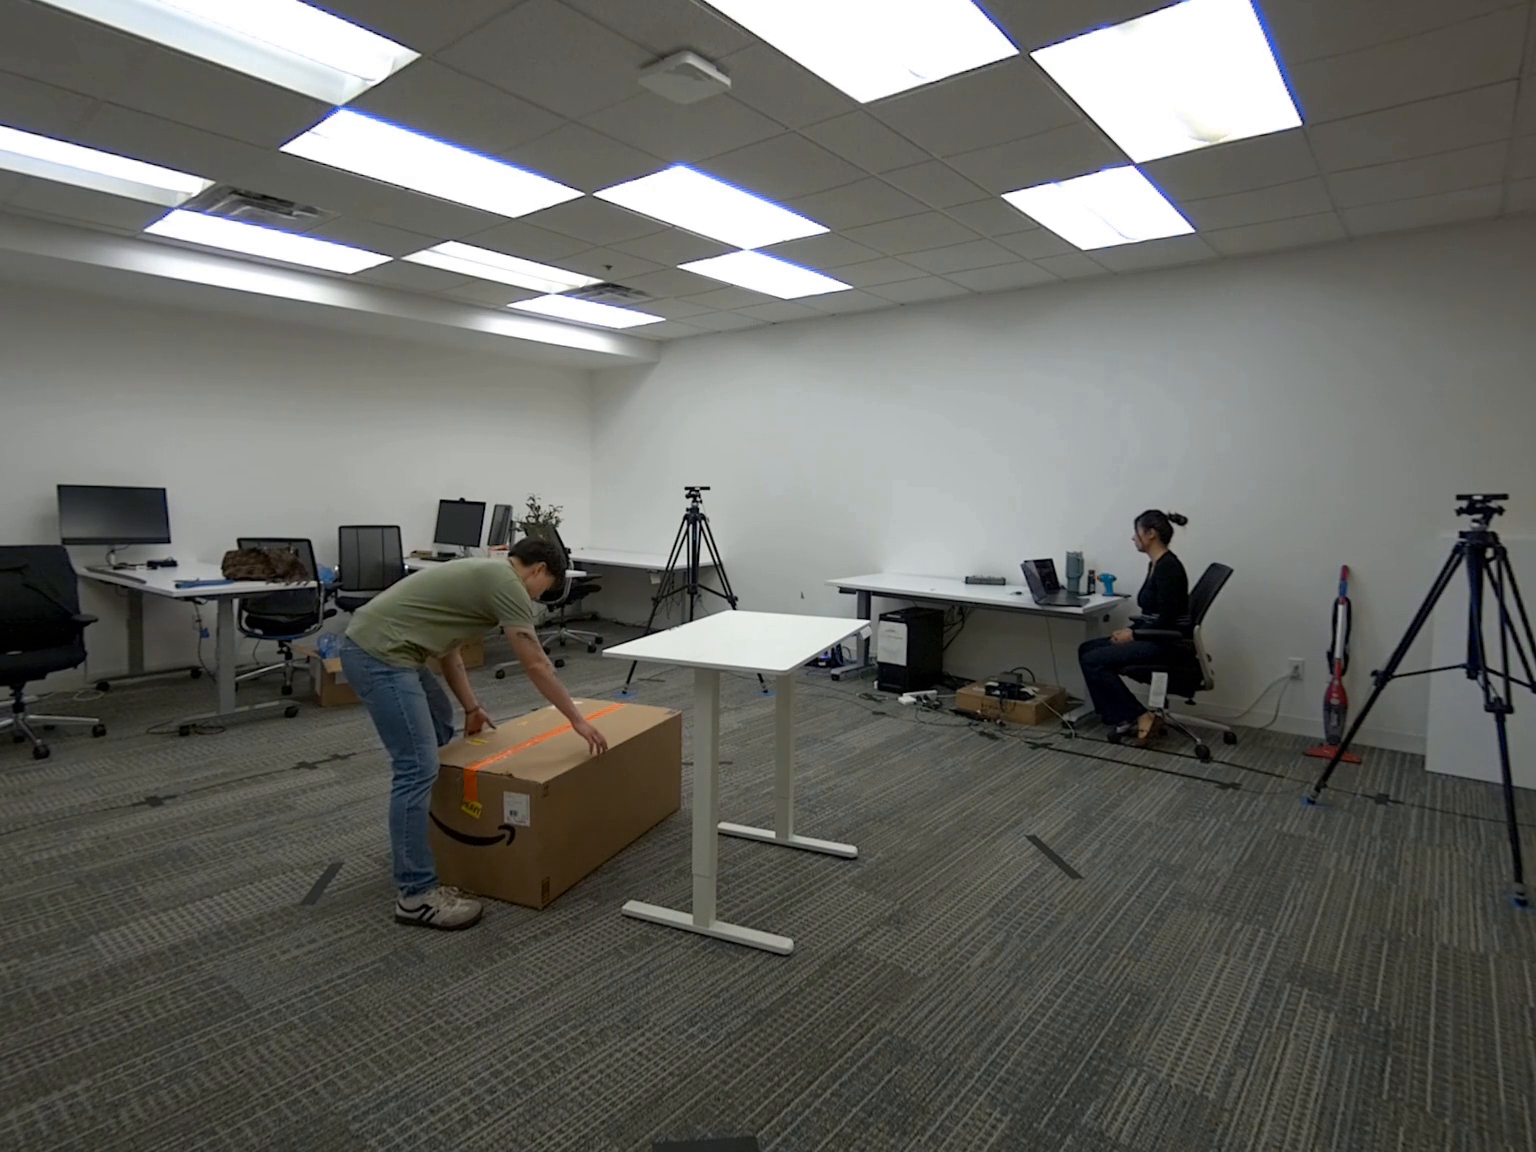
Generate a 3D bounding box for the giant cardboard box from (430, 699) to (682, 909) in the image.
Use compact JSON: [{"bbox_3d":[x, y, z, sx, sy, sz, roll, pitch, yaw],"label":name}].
[{"bbox_3d":[-0.825,0.821,3.336,0.591,0.424,1.006,2,6,22],"label":"giant cardboard box"}]
